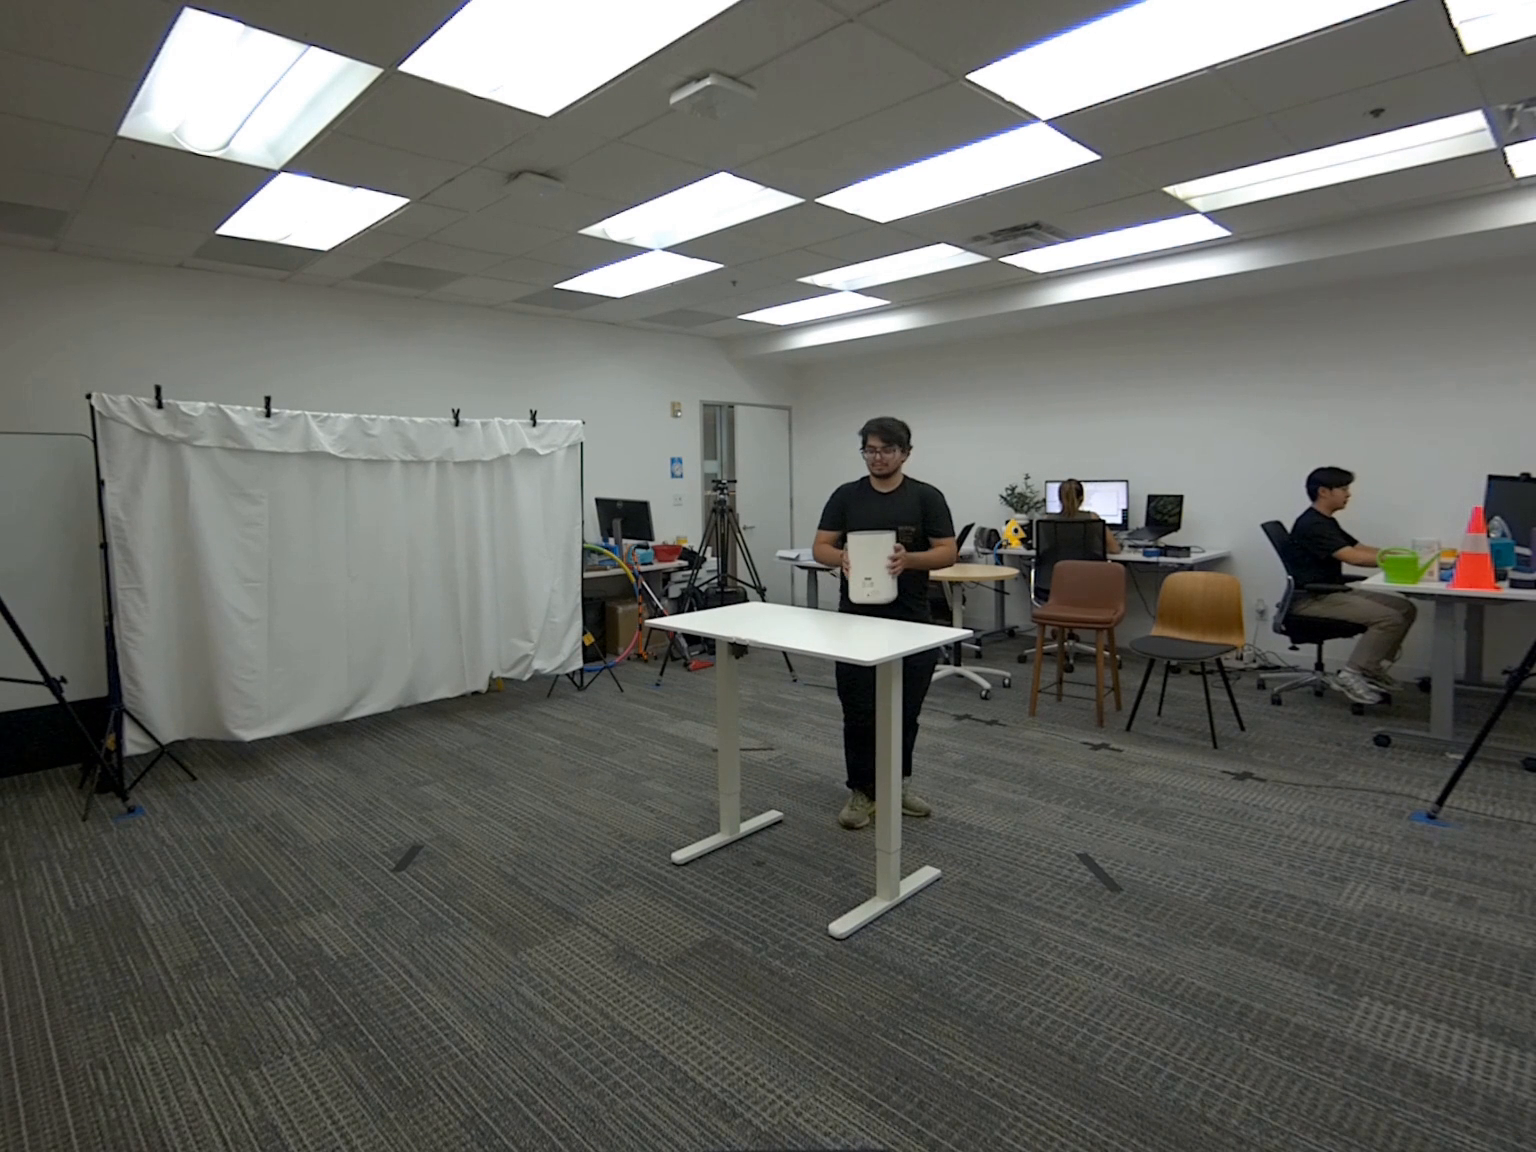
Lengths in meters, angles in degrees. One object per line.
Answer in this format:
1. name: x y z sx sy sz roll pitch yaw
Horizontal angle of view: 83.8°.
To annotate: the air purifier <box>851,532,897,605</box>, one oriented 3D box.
1. air purifier: 0.416 -0.028 3.240 0.173 0.265 0.170 -3 3 14
